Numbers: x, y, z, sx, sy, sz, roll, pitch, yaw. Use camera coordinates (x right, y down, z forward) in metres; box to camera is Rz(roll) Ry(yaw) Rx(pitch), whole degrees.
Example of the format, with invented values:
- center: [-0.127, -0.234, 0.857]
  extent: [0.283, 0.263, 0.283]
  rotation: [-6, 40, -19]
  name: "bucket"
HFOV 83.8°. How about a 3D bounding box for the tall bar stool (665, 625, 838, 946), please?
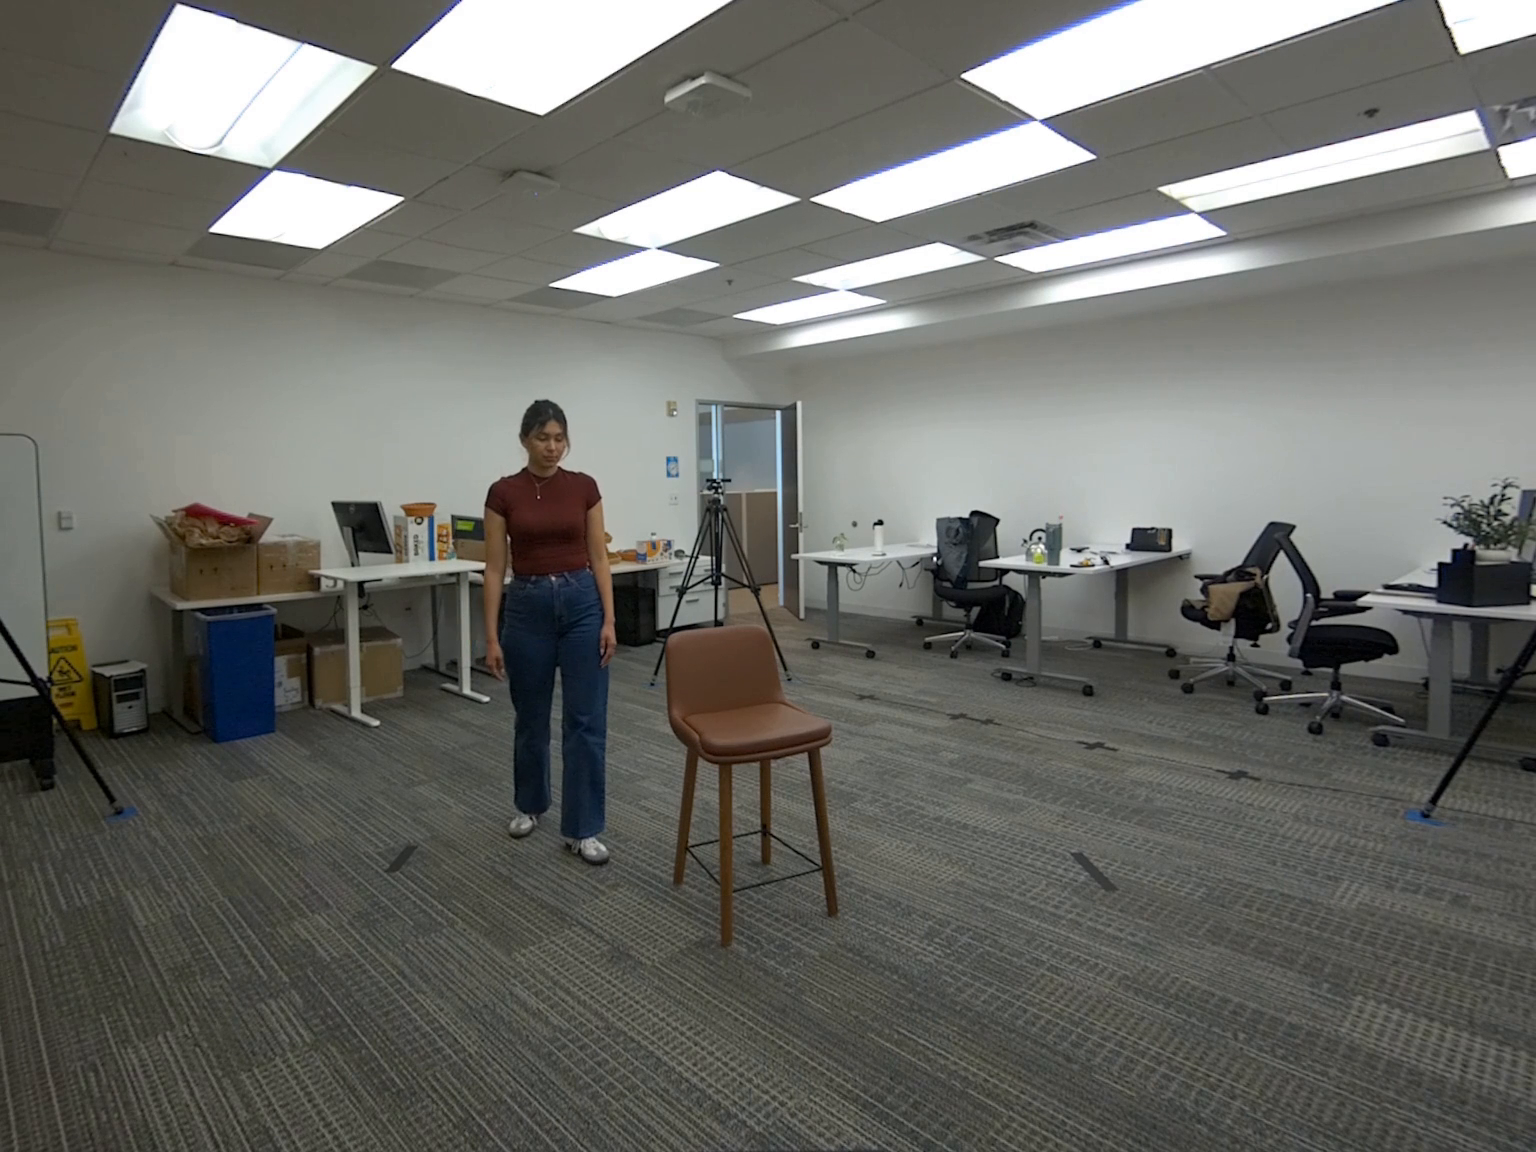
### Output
- center: [-0.068, 0.642, 2.819]
  extent: [0.446, 0.888, 0.479]
  rotation: [-2, 3, -27]
  name: "tall bar stool"
